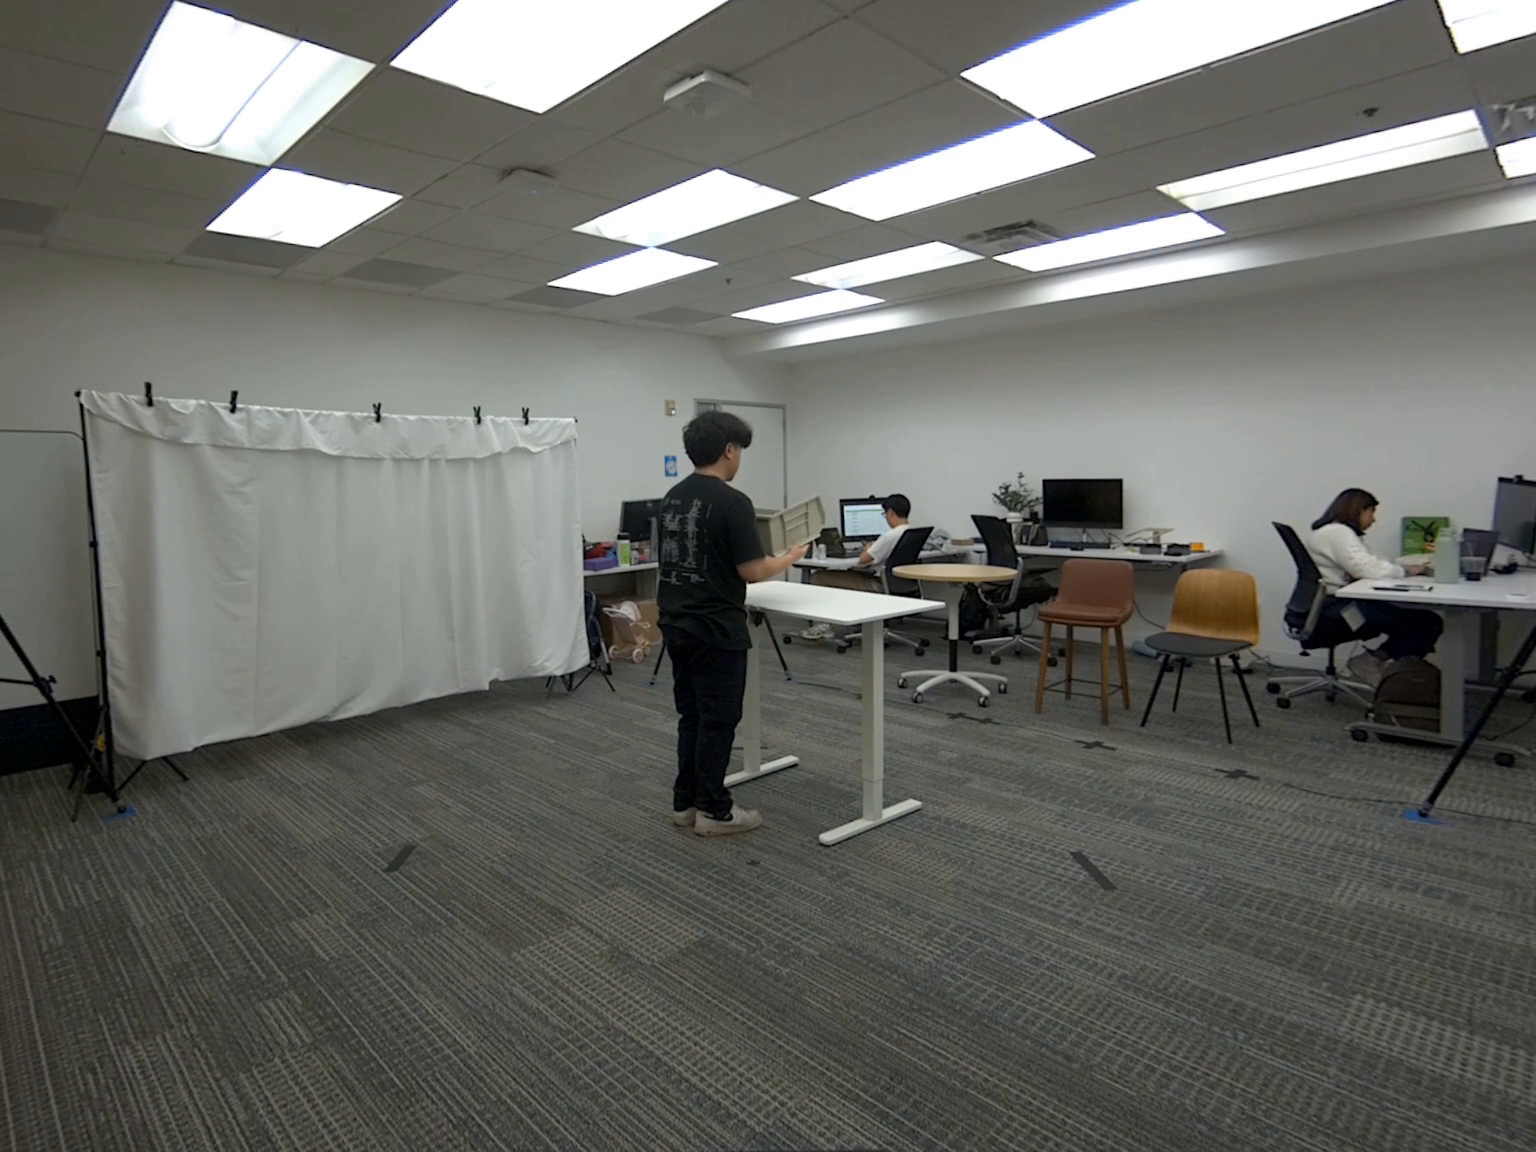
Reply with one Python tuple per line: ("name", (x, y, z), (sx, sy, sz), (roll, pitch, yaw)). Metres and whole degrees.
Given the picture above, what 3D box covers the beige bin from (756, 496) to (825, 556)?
("beige bin", (-0.029, -0.230, 3.610), (0.436, 0.186, 0.372), (8, 23, 38))
